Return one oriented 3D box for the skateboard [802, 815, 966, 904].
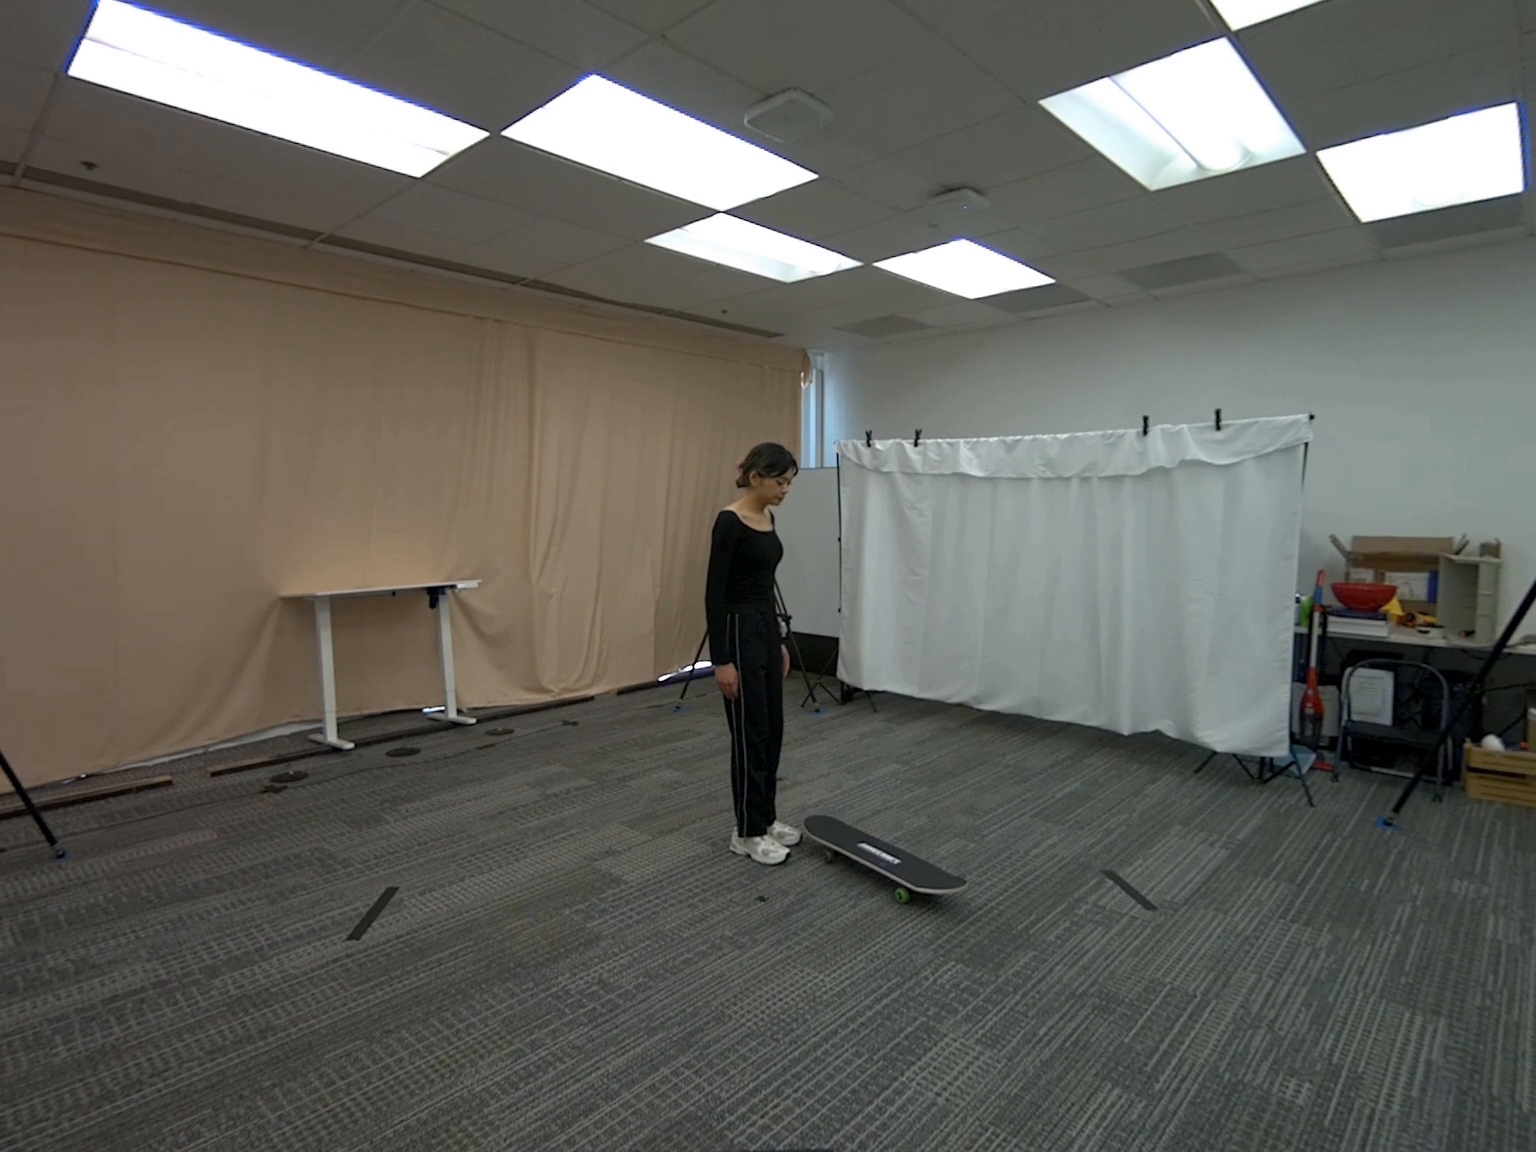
[{"bbox_3d":[0.422,1.069,3.160,0.188,0.110,0.810,-3,5,-34],"label":"skateboard"}]
